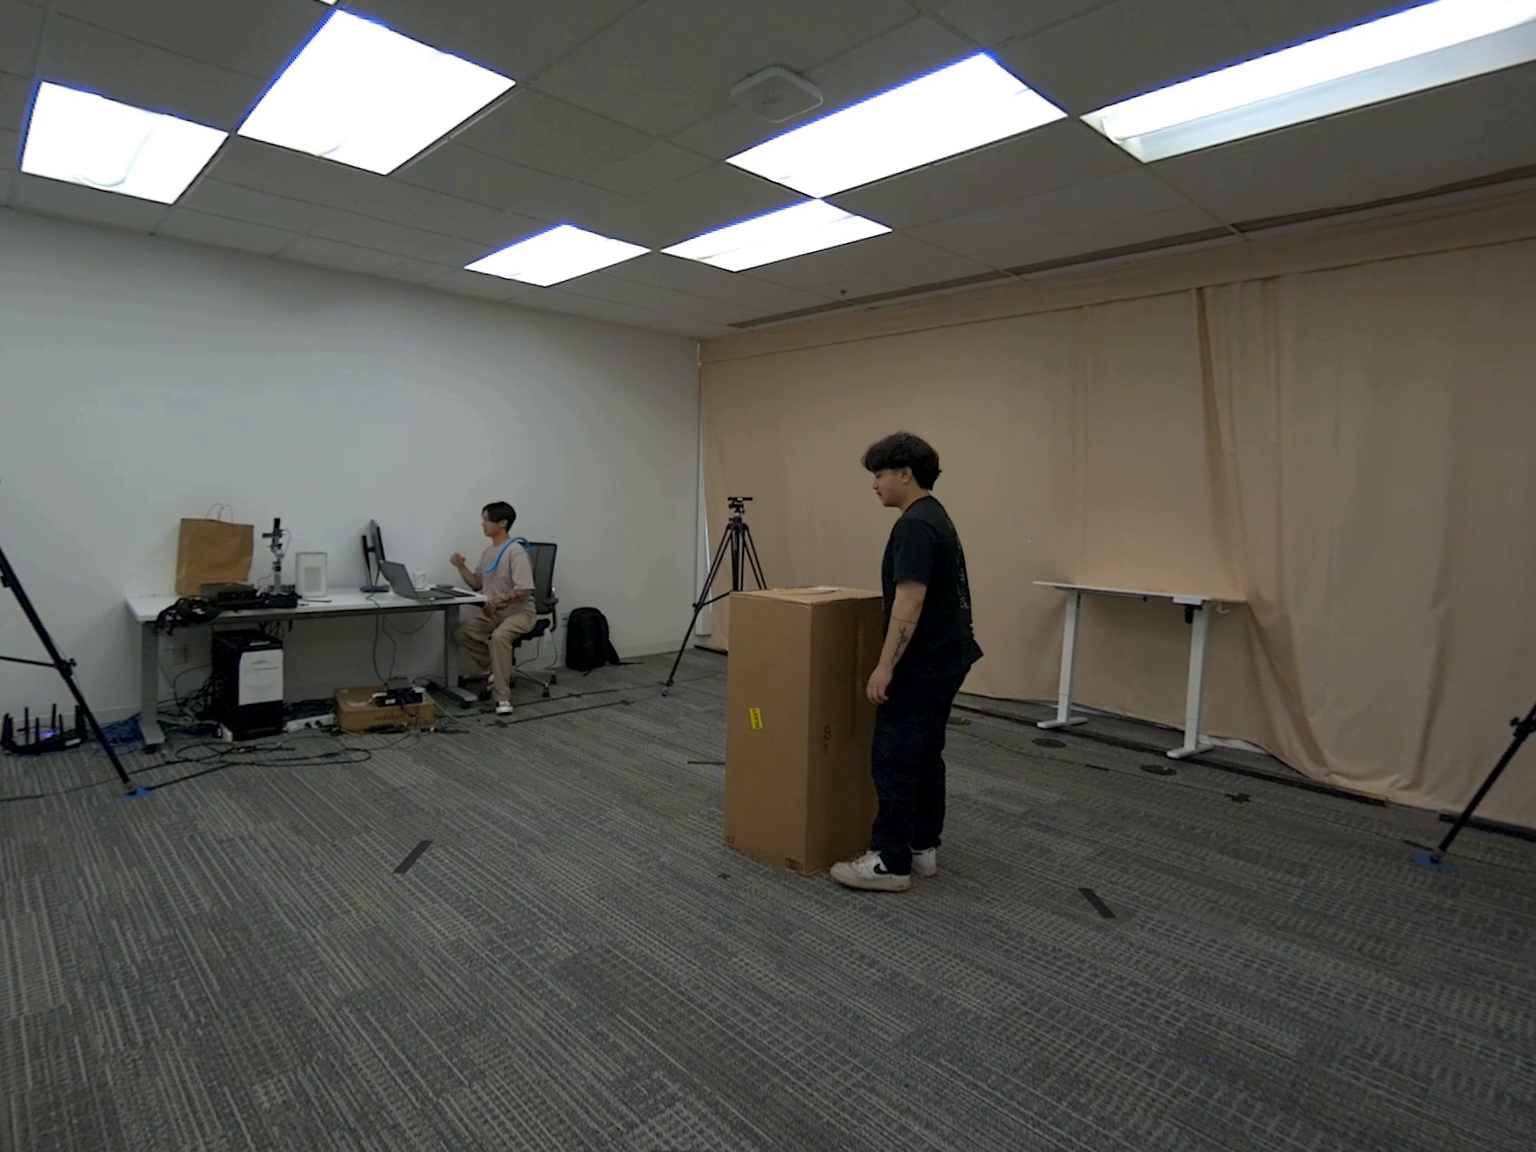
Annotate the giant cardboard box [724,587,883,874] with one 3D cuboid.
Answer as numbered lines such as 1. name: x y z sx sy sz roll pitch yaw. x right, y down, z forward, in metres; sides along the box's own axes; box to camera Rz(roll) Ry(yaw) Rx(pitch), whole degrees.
1. giant cardboard box: 0.168 0.576 3.437 0.458 1.025 0.570 3 3 44
